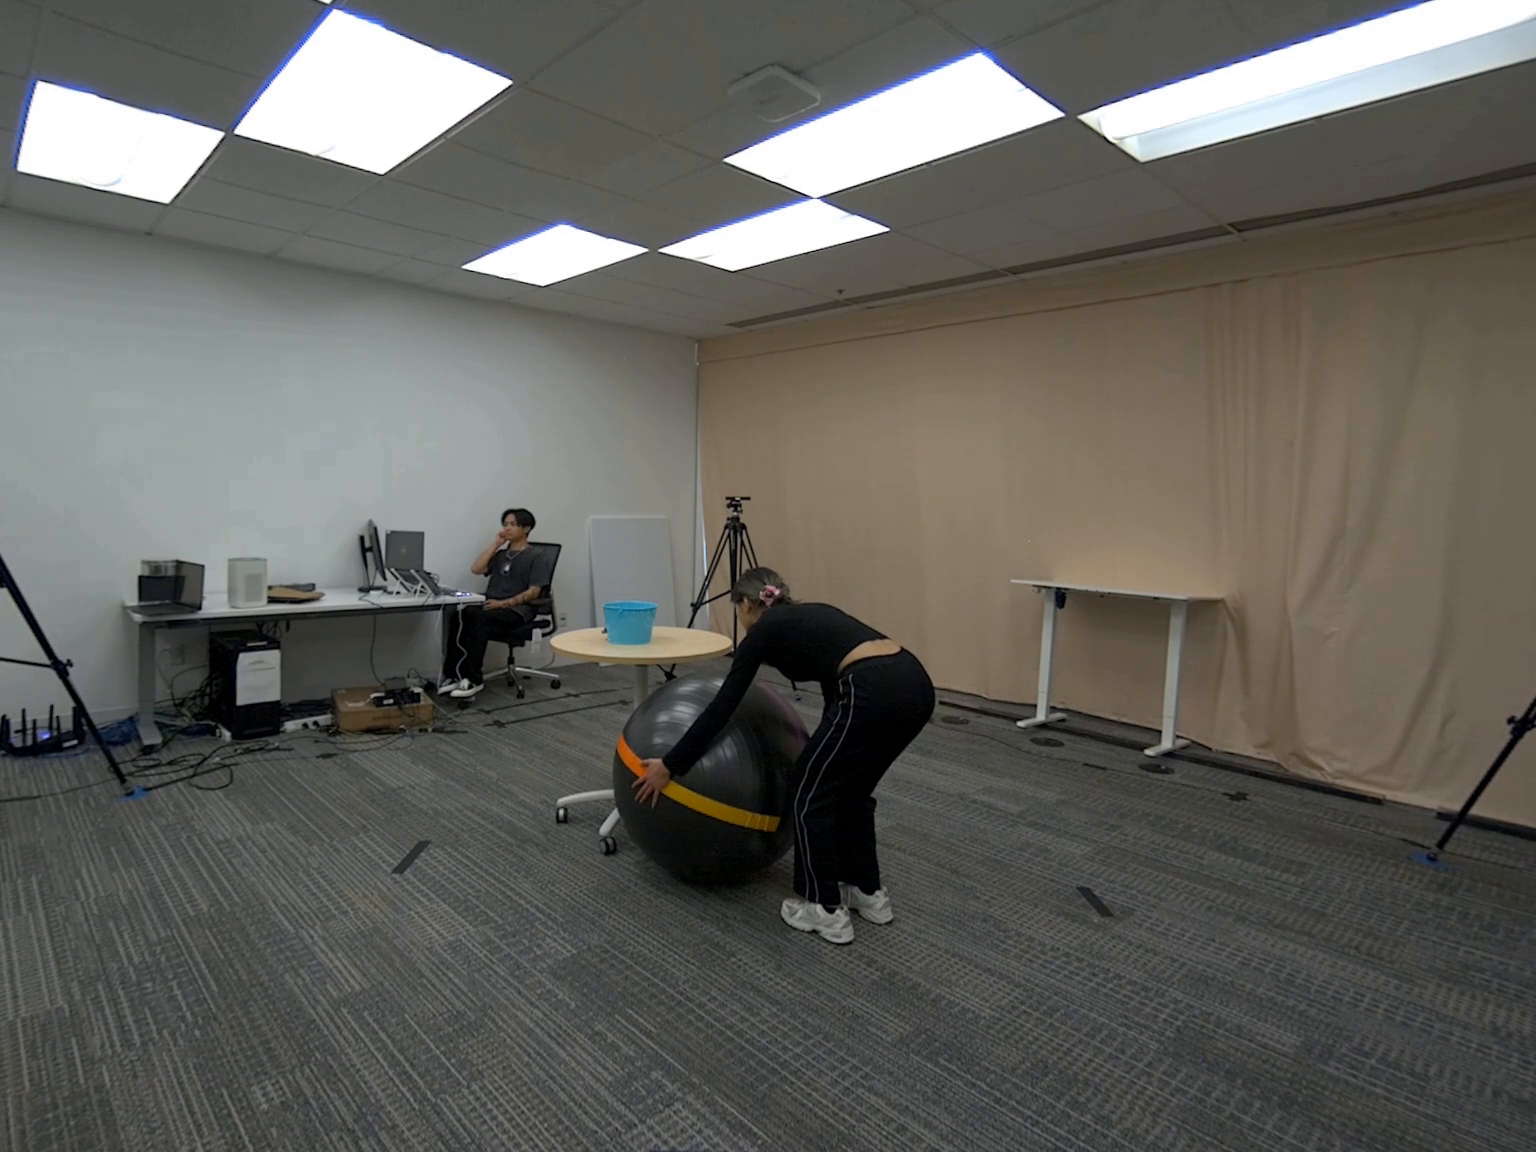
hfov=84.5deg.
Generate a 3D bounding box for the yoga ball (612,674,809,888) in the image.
[{"bbox_3d":[-0.205,0.741,3.138,0.757,0.756,0.761,1,4,-1],"label":"yoga ball"}]
